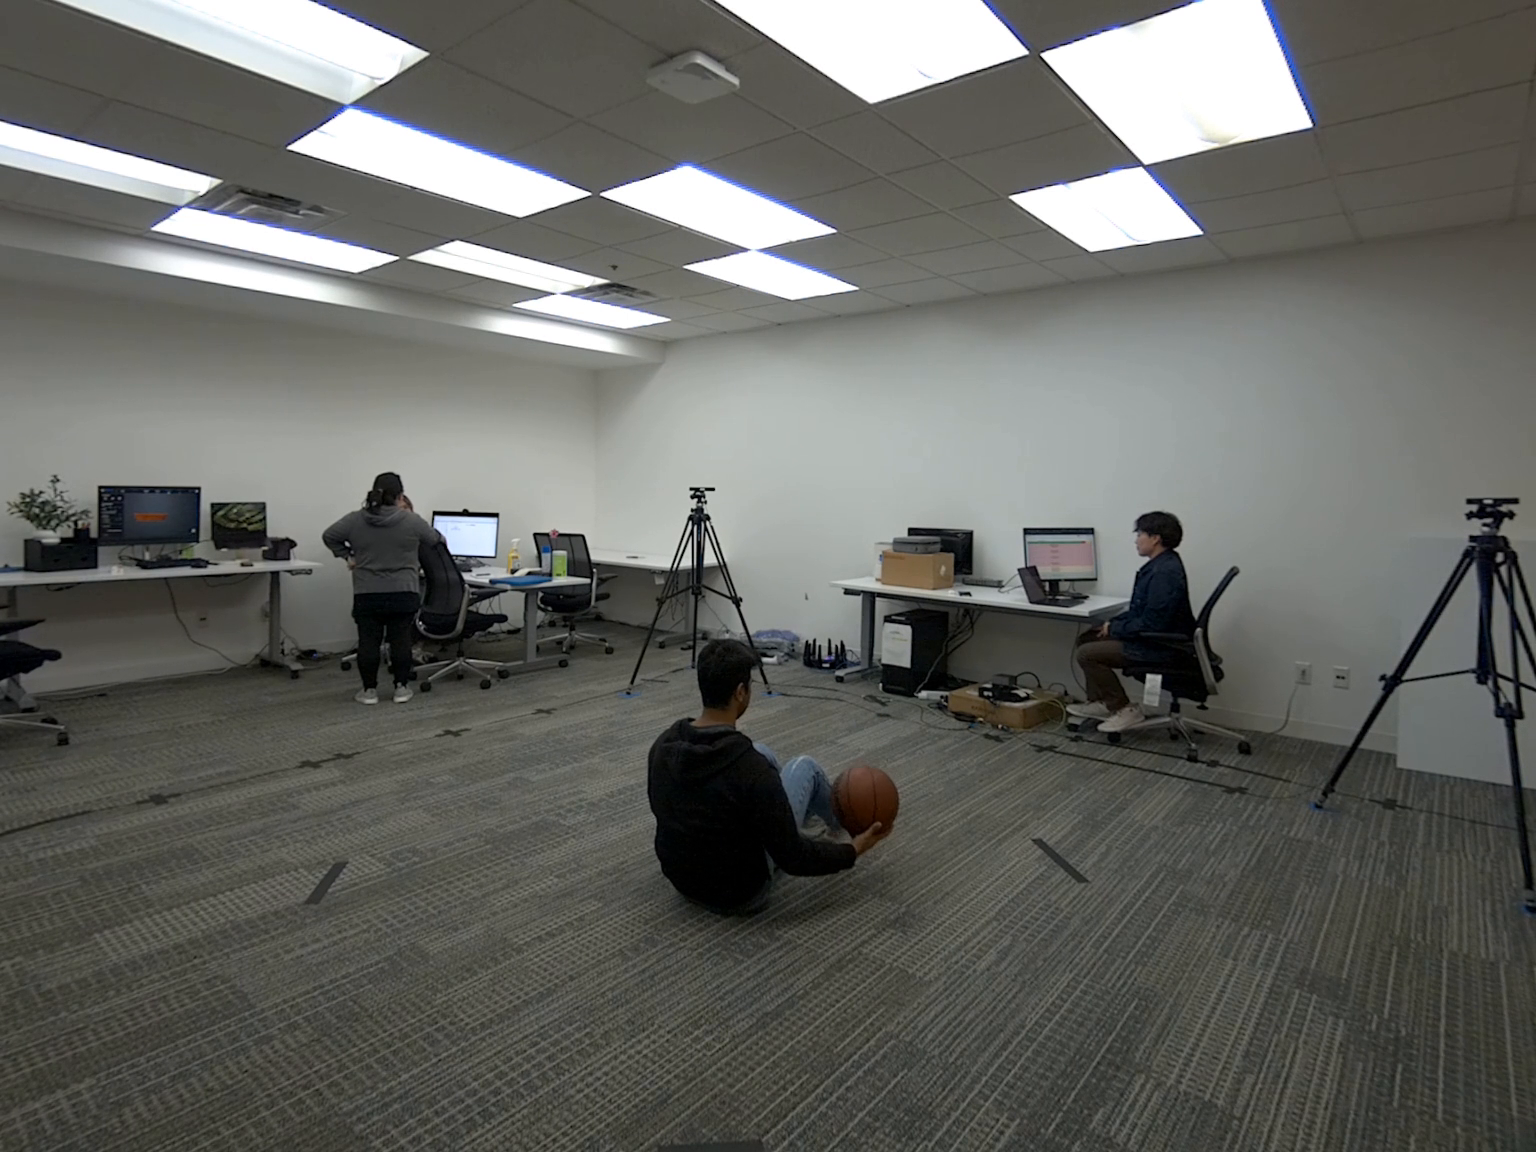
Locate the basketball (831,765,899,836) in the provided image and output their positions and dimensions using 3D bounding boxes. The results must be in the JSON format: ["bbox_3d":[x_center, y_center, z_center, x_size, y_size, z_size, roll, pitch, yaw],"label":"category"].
[{"bbox_3d":[0.317,0.776,2.968,0.235,0.235,0.237,1,4,-2],"label":"basketball"}]
